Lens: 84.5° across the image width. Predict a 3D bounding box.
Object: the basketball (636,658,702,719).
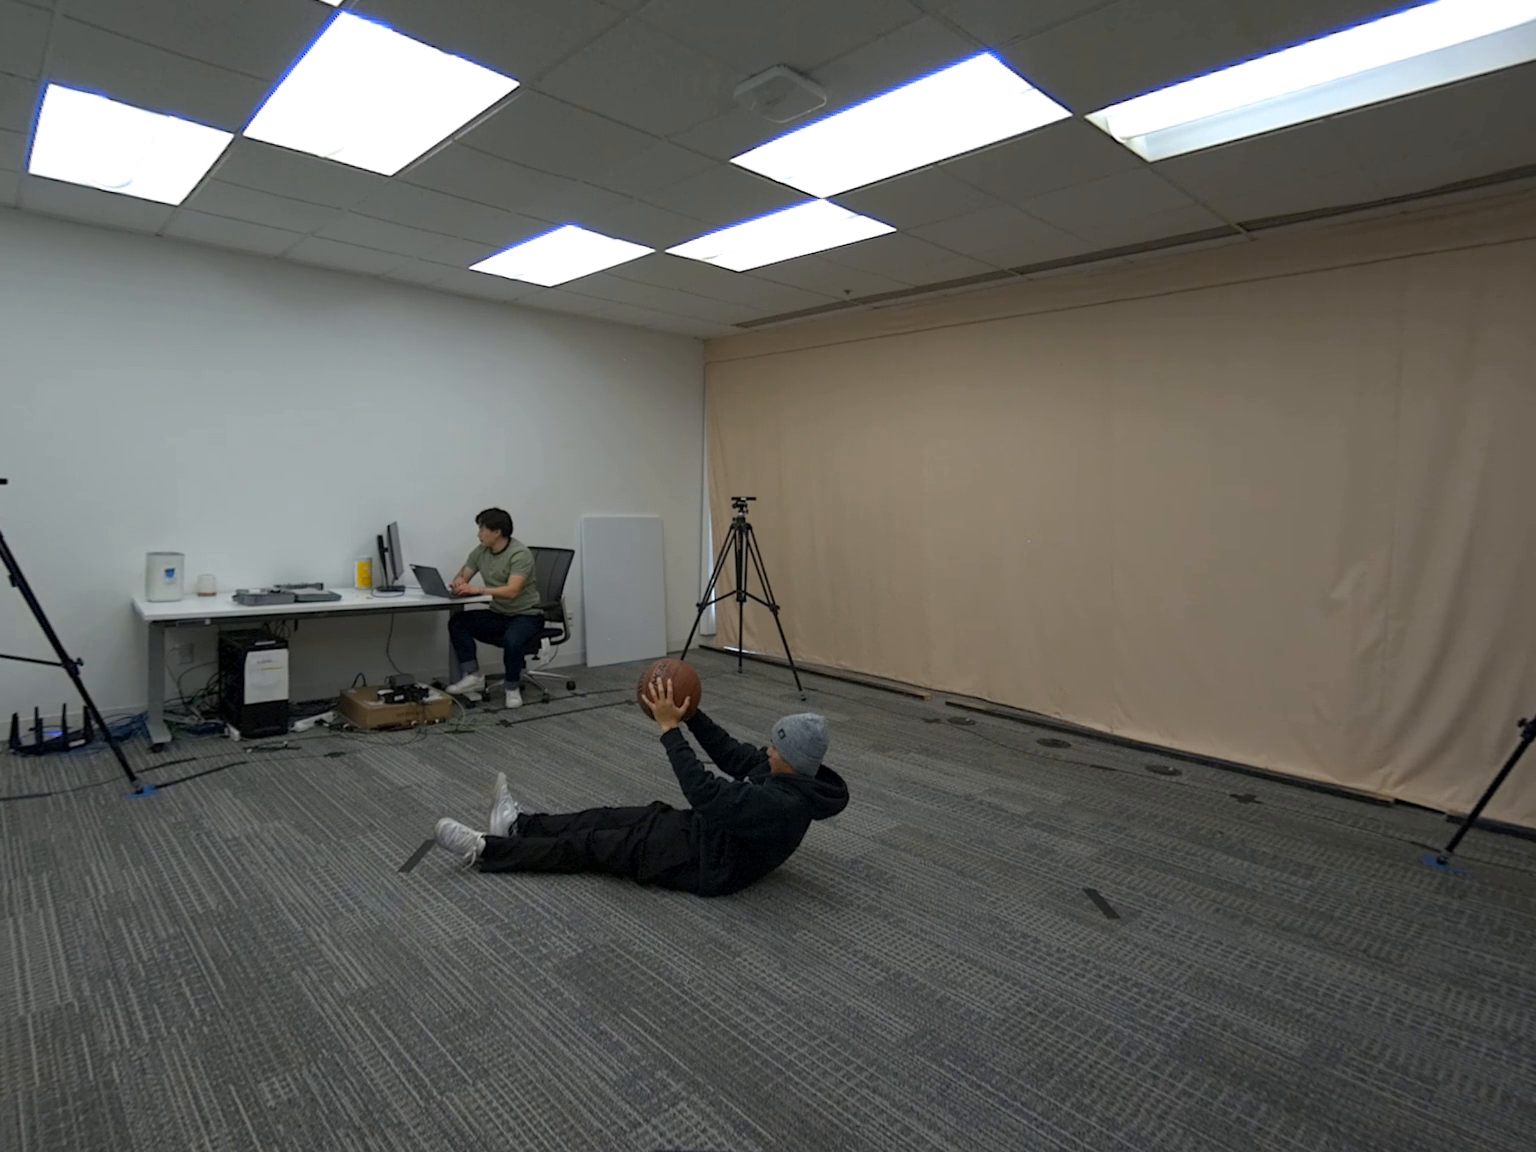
[{"bbox_3d":[-0.368,0.423,3.095,0.236,0.235,0.237,1,4,-1],"label":"basketball"}]
